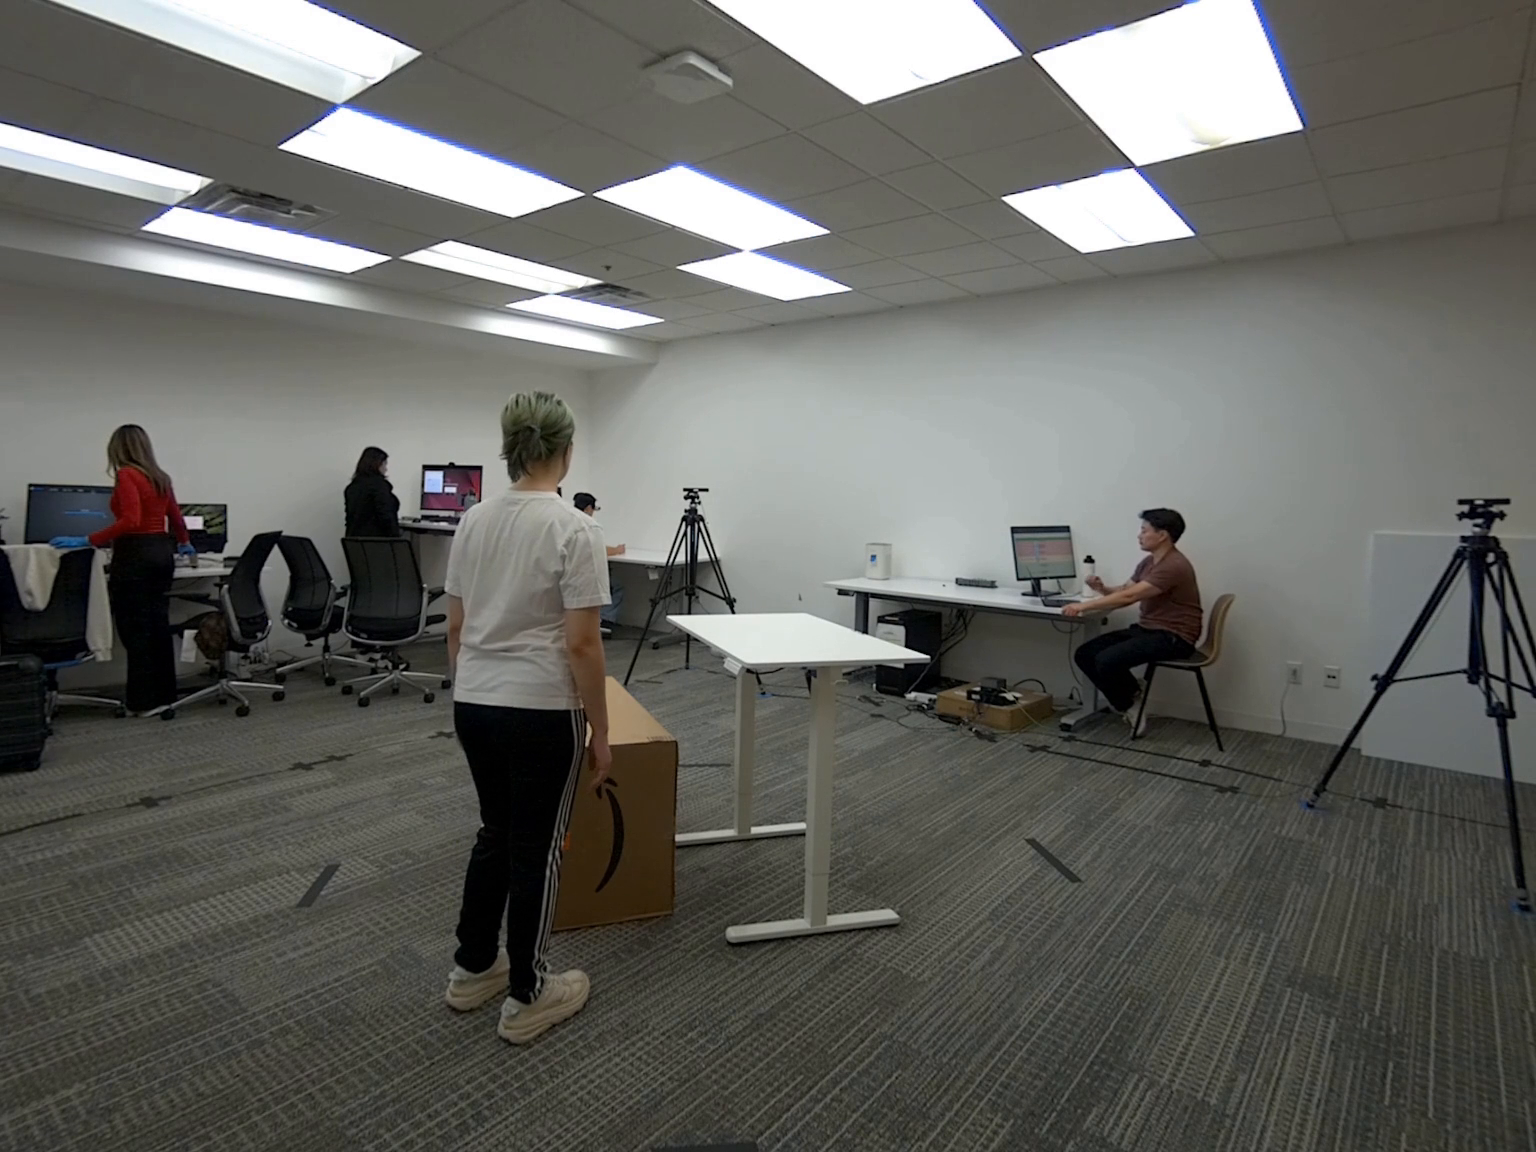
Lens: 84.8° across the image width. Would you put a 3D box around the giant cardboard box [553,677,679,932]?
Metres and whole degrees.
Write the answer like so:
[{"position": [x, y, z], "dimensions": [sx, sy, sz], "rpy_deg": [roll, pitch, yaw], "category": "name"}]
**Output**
[{"position": [-0.700, 0.761, 3.167], "dimensions": [0.437, 0.582, 1.053], "rpy_deg": [0, 5, -22], "category": "giant cardboard box"}]
